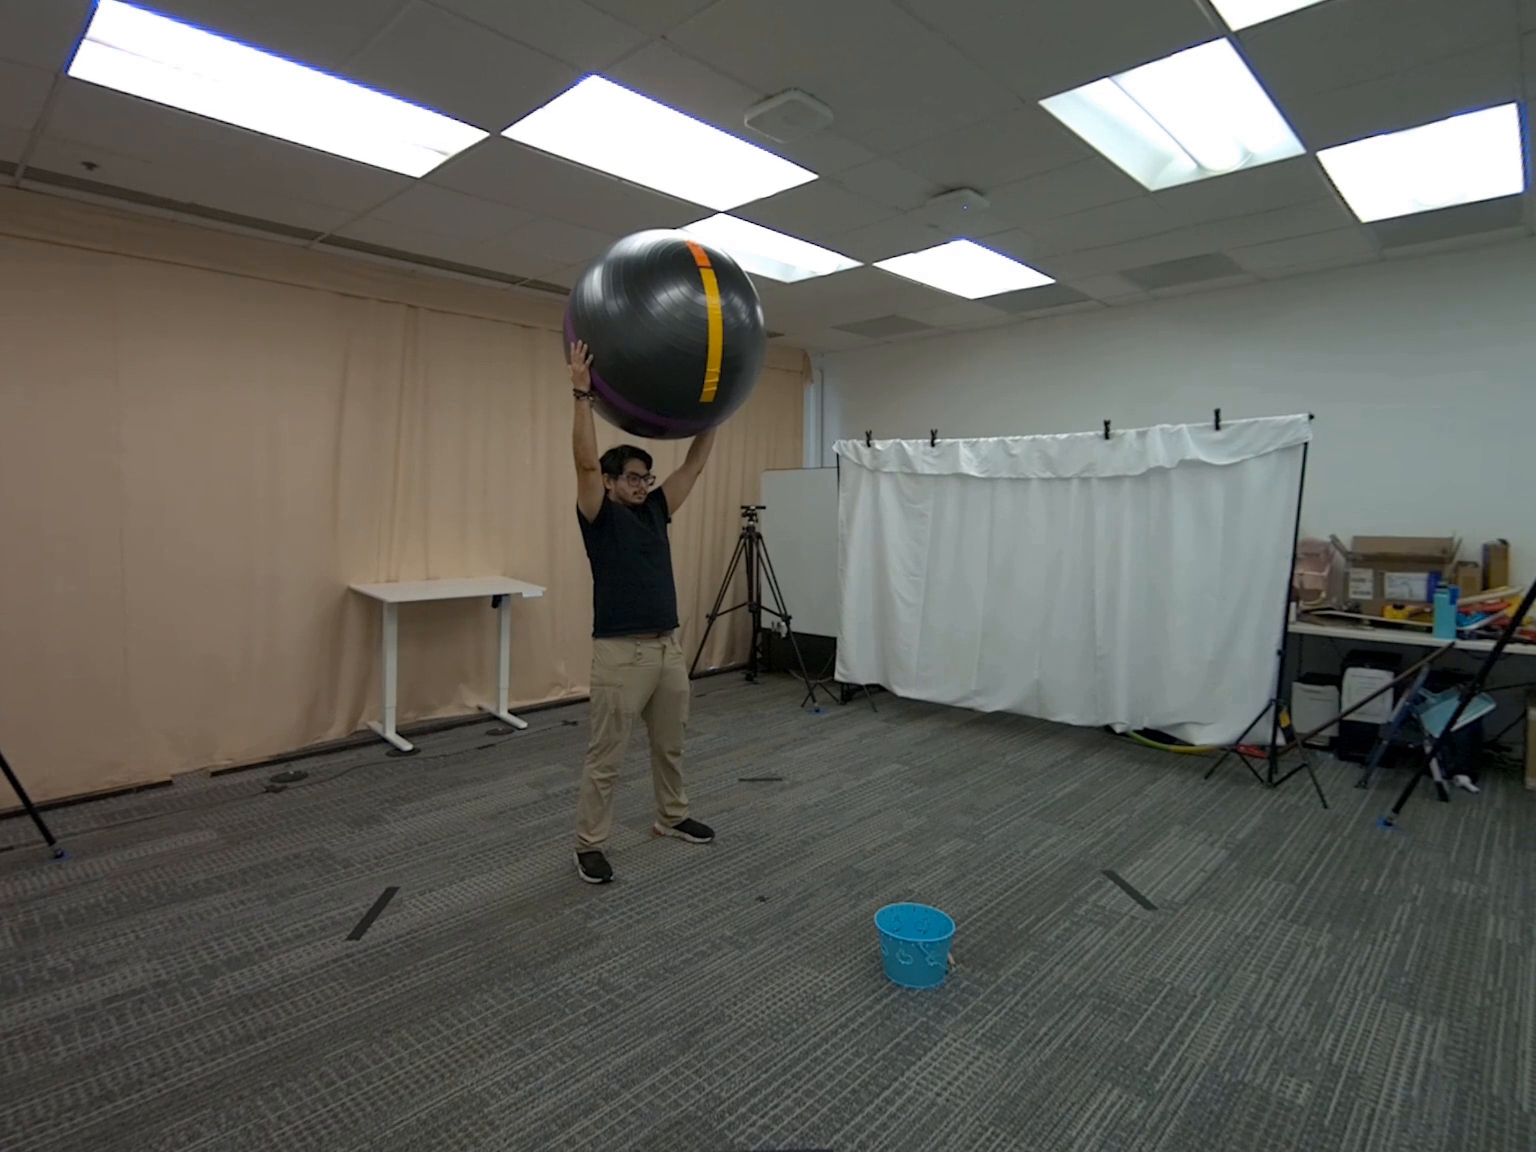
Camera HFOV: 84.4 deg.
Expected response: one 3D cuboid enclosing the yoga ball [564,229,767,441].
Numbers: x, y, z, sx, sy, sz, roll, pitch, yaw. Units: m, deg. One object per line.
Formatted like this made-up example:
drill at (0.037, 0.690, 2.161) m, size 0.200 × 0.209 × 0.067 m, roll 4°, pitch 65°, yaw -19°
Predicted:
yoga ball at (-0.384, -0.884, 3.141) m, size 0.757 × 0.756 × 0.761 m, roll 0°, pitch 4°, yaw -2°
